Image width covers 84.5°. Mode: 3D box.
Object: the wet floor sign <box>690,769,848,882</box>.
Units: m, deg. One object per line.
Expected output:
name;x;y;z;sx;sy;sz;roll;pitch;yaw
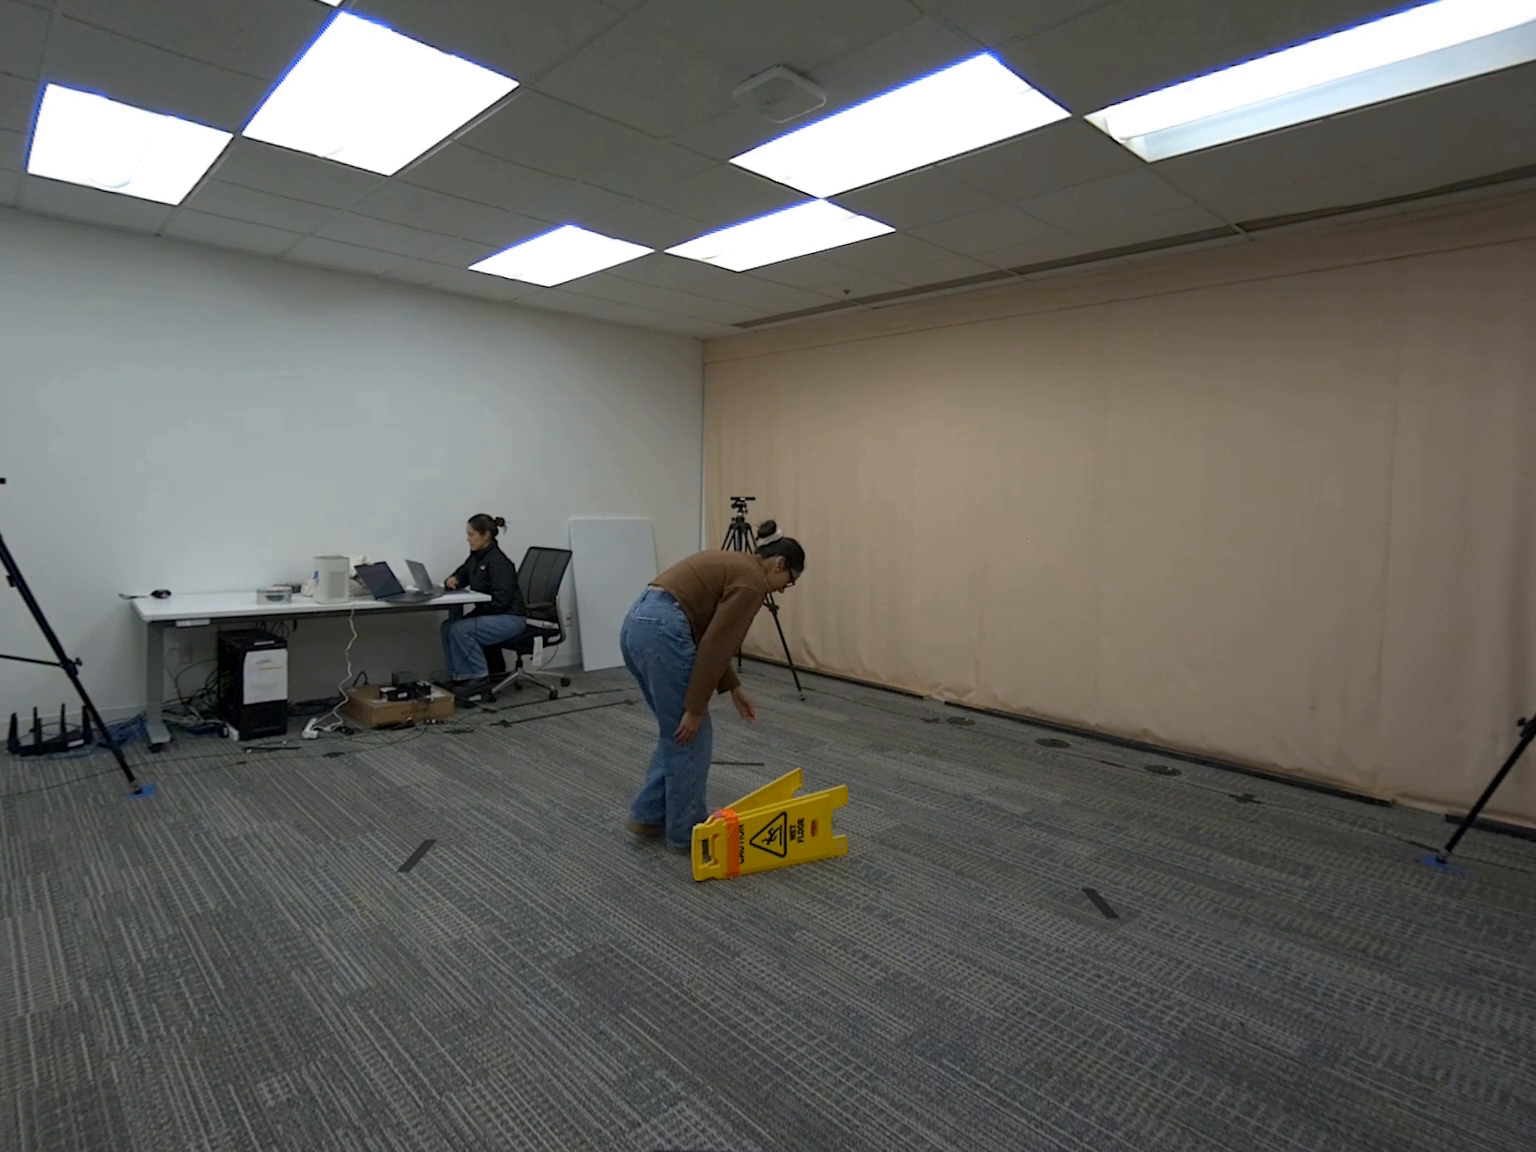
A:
wet floor sign;-0.022;0.975;3.216;0.632;0.281;0.297;-6;8;-38
